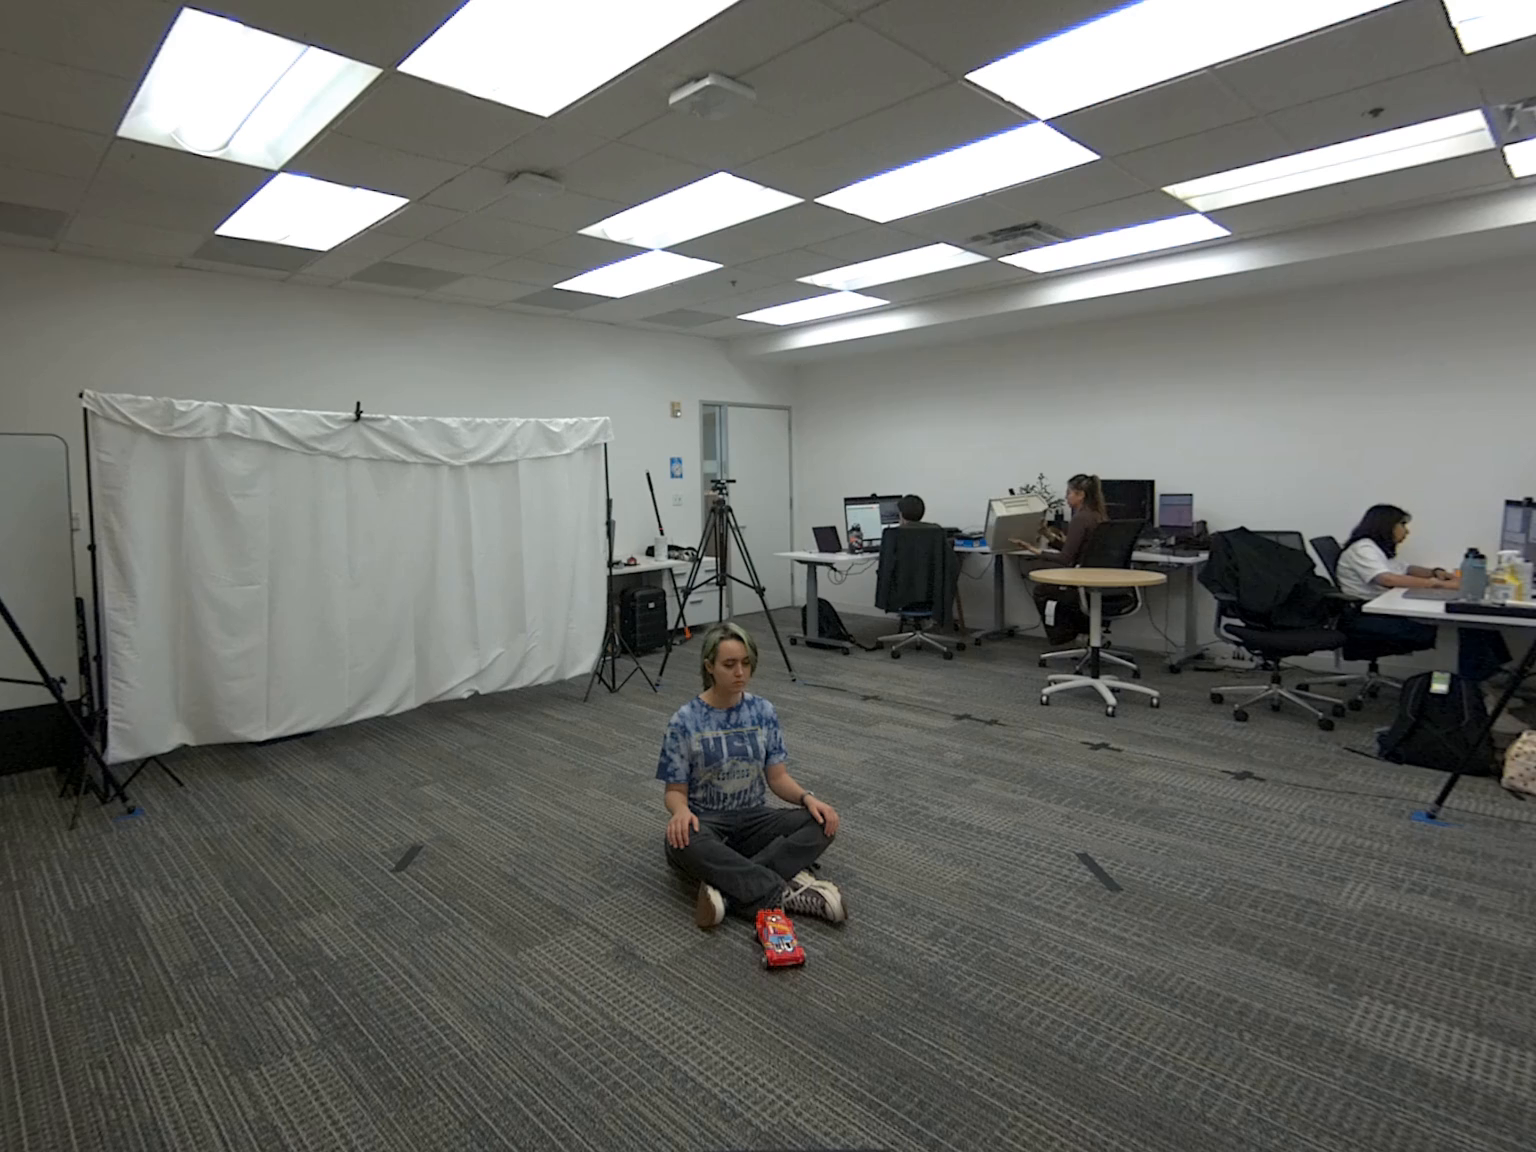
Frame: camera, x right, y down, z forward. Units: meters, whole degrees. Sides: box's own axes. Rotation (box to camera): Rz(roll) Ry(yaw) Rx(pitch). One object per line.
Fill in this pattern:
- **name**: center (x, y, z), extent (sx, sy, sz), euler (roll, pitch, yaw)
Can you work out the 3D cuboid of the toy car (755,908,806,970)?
- **toy car**: center (0.028, 1.082, 2.541), extent (0.129, 0.082, 0.260), euler (-3, 18, -9)
